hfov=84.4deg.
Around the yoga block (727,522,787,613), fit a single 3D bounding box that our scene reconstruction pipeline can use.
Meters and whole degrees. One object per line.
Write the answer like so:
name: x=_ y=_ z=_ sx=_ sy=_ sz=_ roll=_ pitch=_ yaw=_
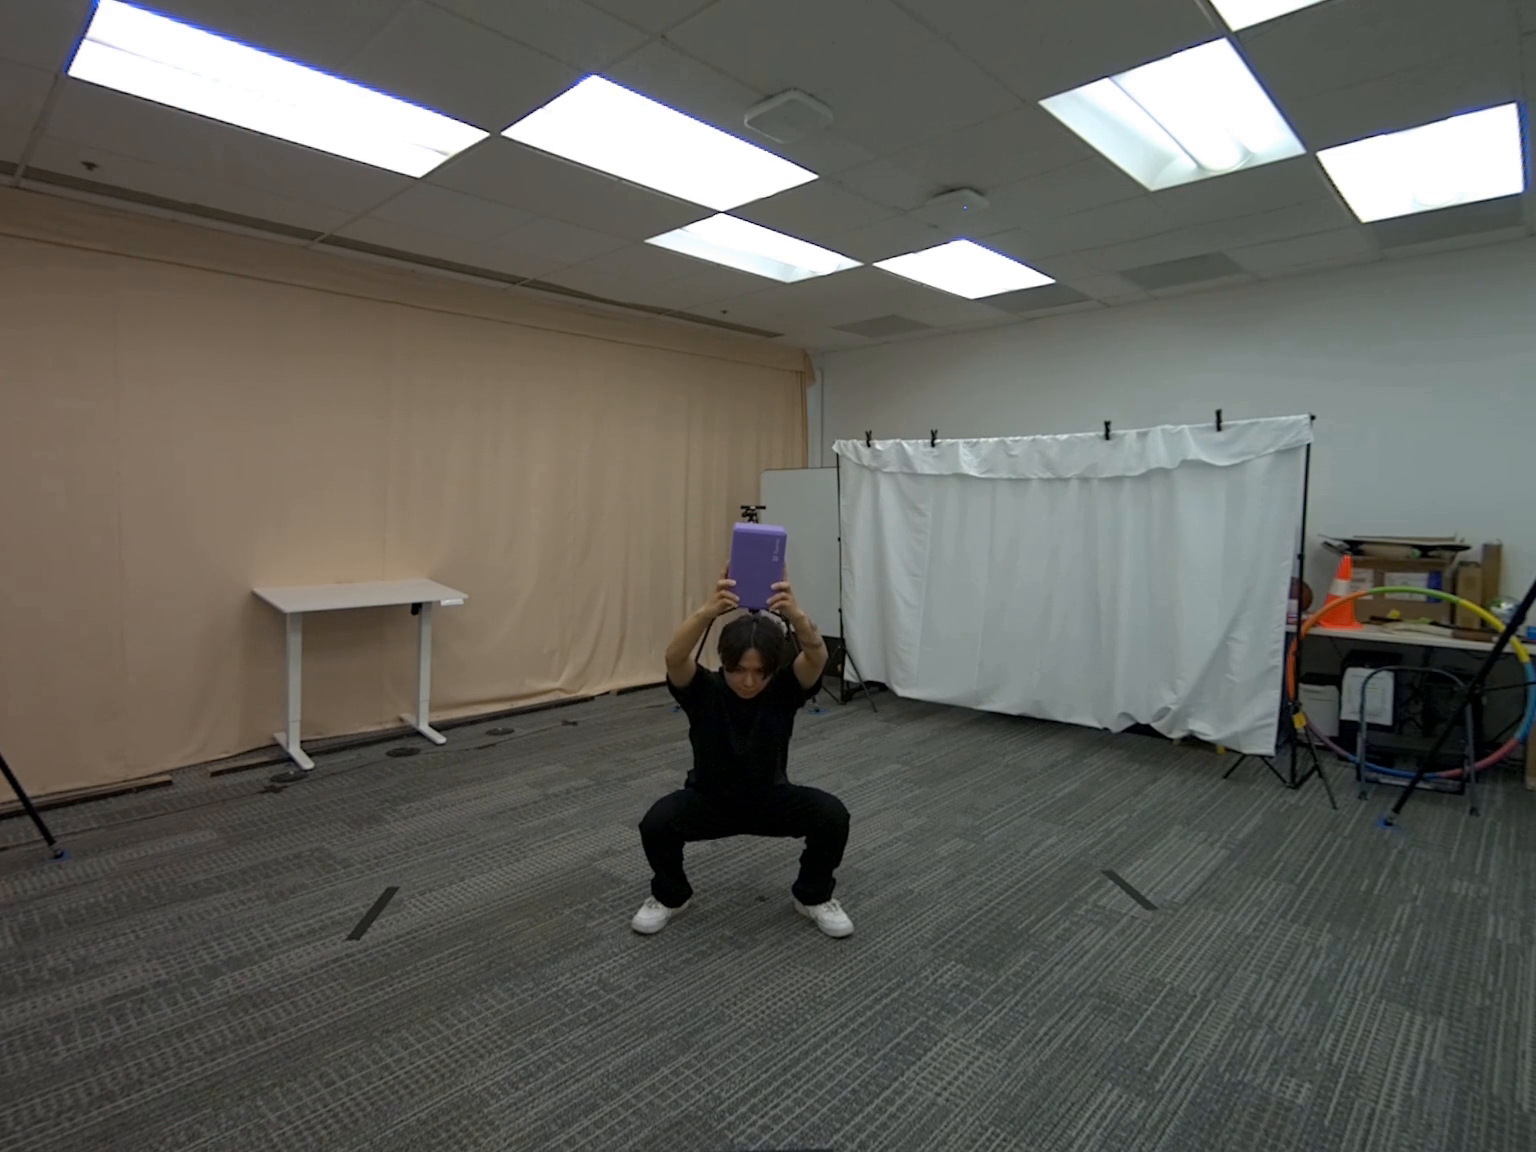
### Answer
yoga block: x=-0.033 y=-0.030 z=2.344 sx=0.149 sy=0.228 sz=0.077 roll=7 pitch=14 yaw=3
